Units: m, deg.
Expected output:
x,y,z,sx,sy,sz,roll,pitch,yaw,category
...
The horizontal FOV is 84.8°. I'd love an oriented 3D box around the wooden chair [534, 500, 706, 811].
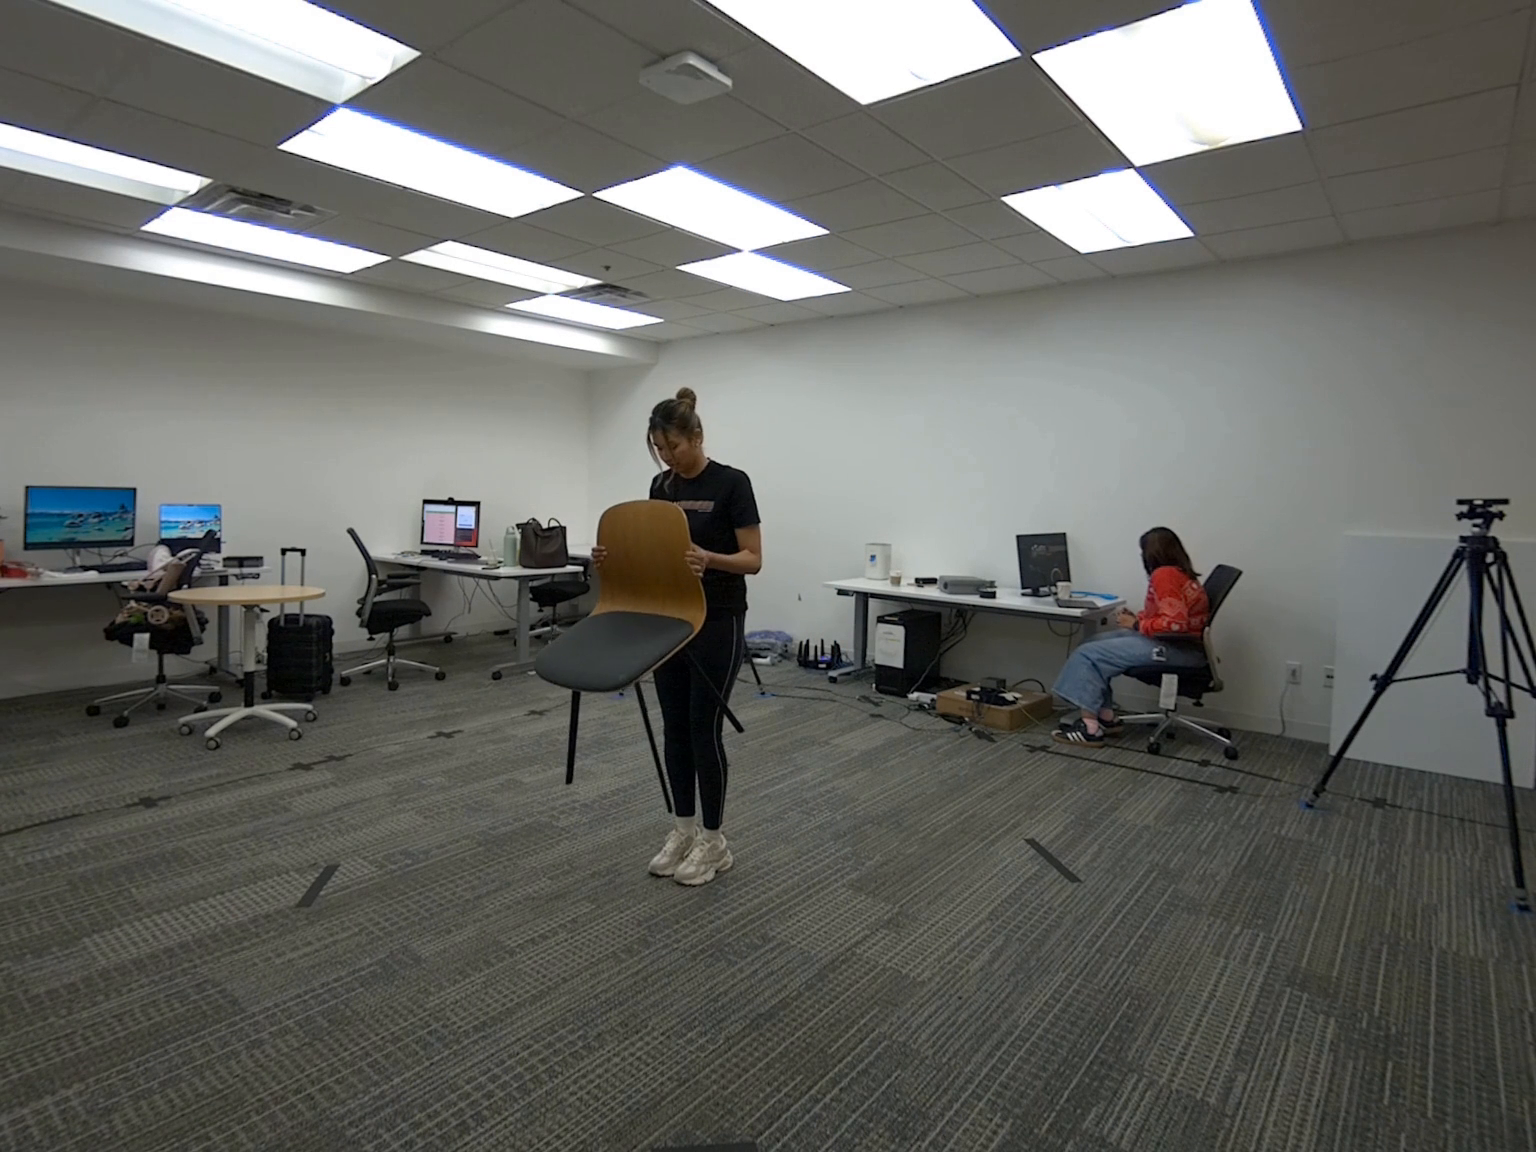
x,y,z,sx,sy,sz,roll,pitch,yaw,category
-0.471,0.246,2.781,0.493,0.861,0.517,3,21,32,wooden chair
